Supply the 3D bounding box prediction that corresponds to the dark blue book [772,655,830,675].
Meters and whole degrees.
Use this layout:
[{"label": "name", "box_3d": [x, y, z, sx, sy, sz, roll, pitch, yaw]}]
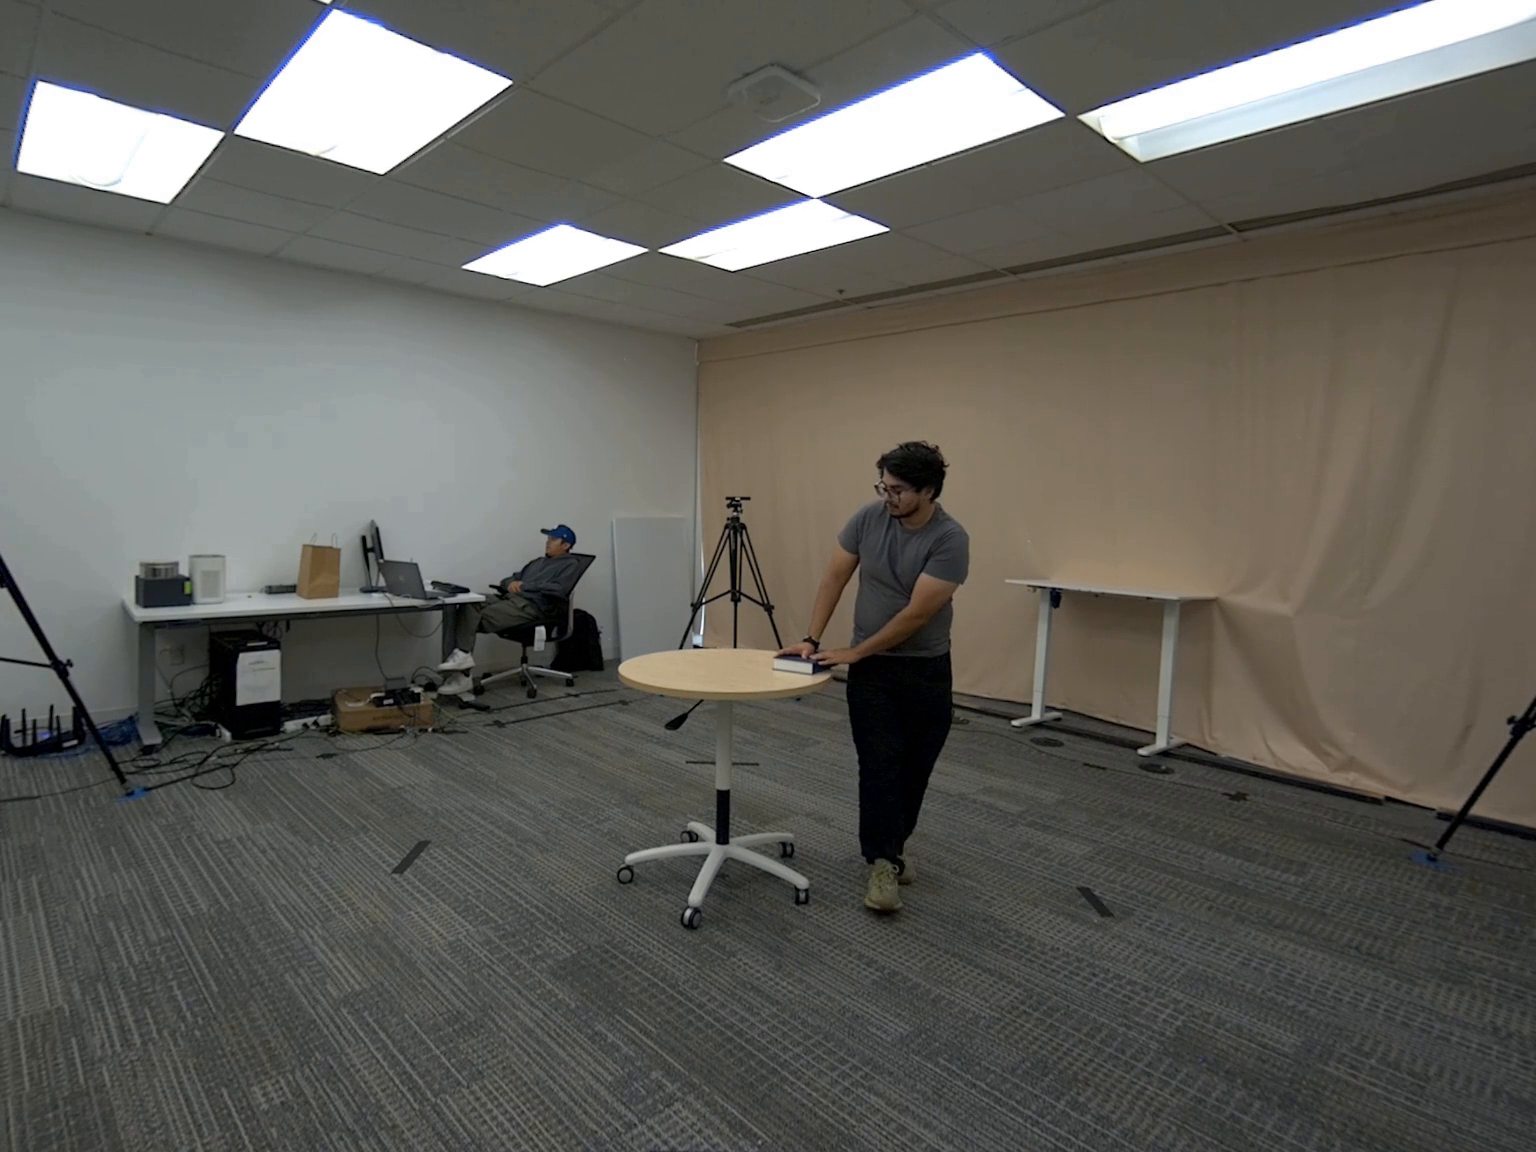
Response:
[{"label": "dark blue book", "box_3d": [0.140, 0.310, 3.064, 0.167, 0.045, 0.240, 4, 6, 30]}]
